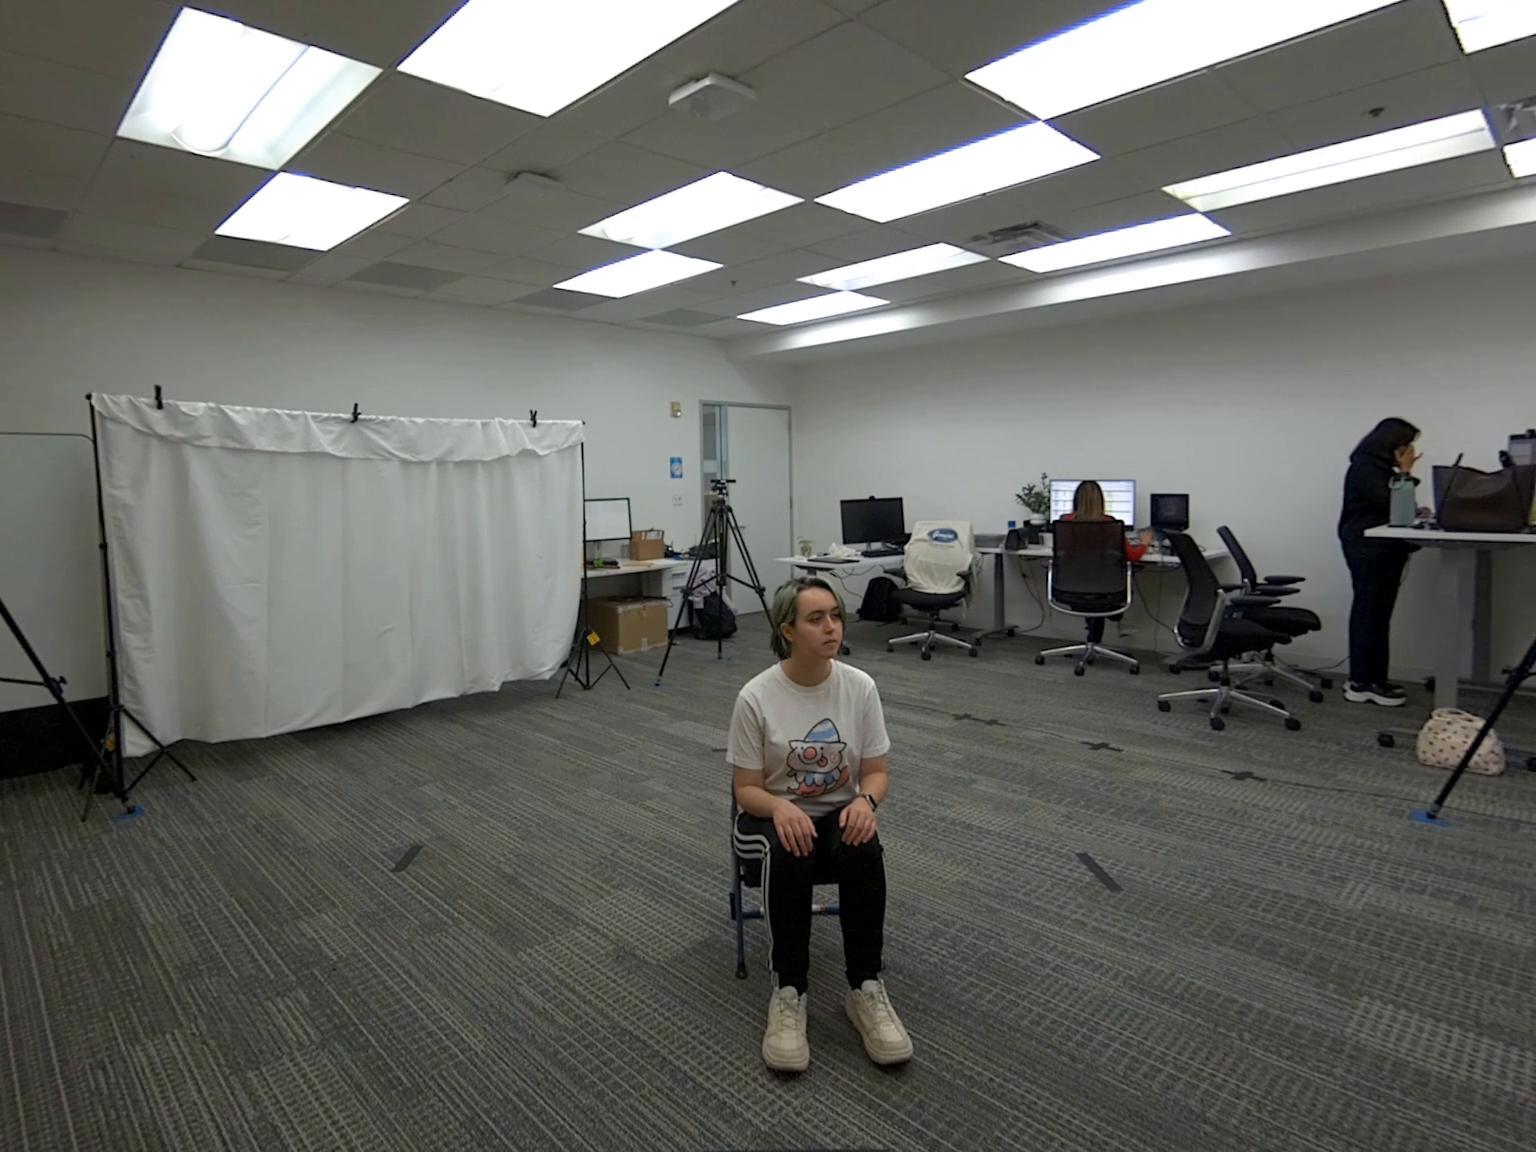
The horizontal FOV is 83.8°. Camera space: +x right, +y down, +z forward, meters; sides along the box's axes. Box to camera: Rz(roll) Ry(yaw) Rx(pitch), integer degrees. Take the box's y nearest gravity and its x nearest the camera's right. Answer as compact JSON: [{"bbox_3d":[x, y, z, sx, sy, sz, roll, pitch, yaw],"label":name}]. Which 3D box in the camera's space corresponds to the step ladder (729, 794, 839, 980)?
[{"bbox_3d":[0.108,0.811,2.567,0.429,0.603,0.352,-2,5,-5],"label":"step ladder"}]
